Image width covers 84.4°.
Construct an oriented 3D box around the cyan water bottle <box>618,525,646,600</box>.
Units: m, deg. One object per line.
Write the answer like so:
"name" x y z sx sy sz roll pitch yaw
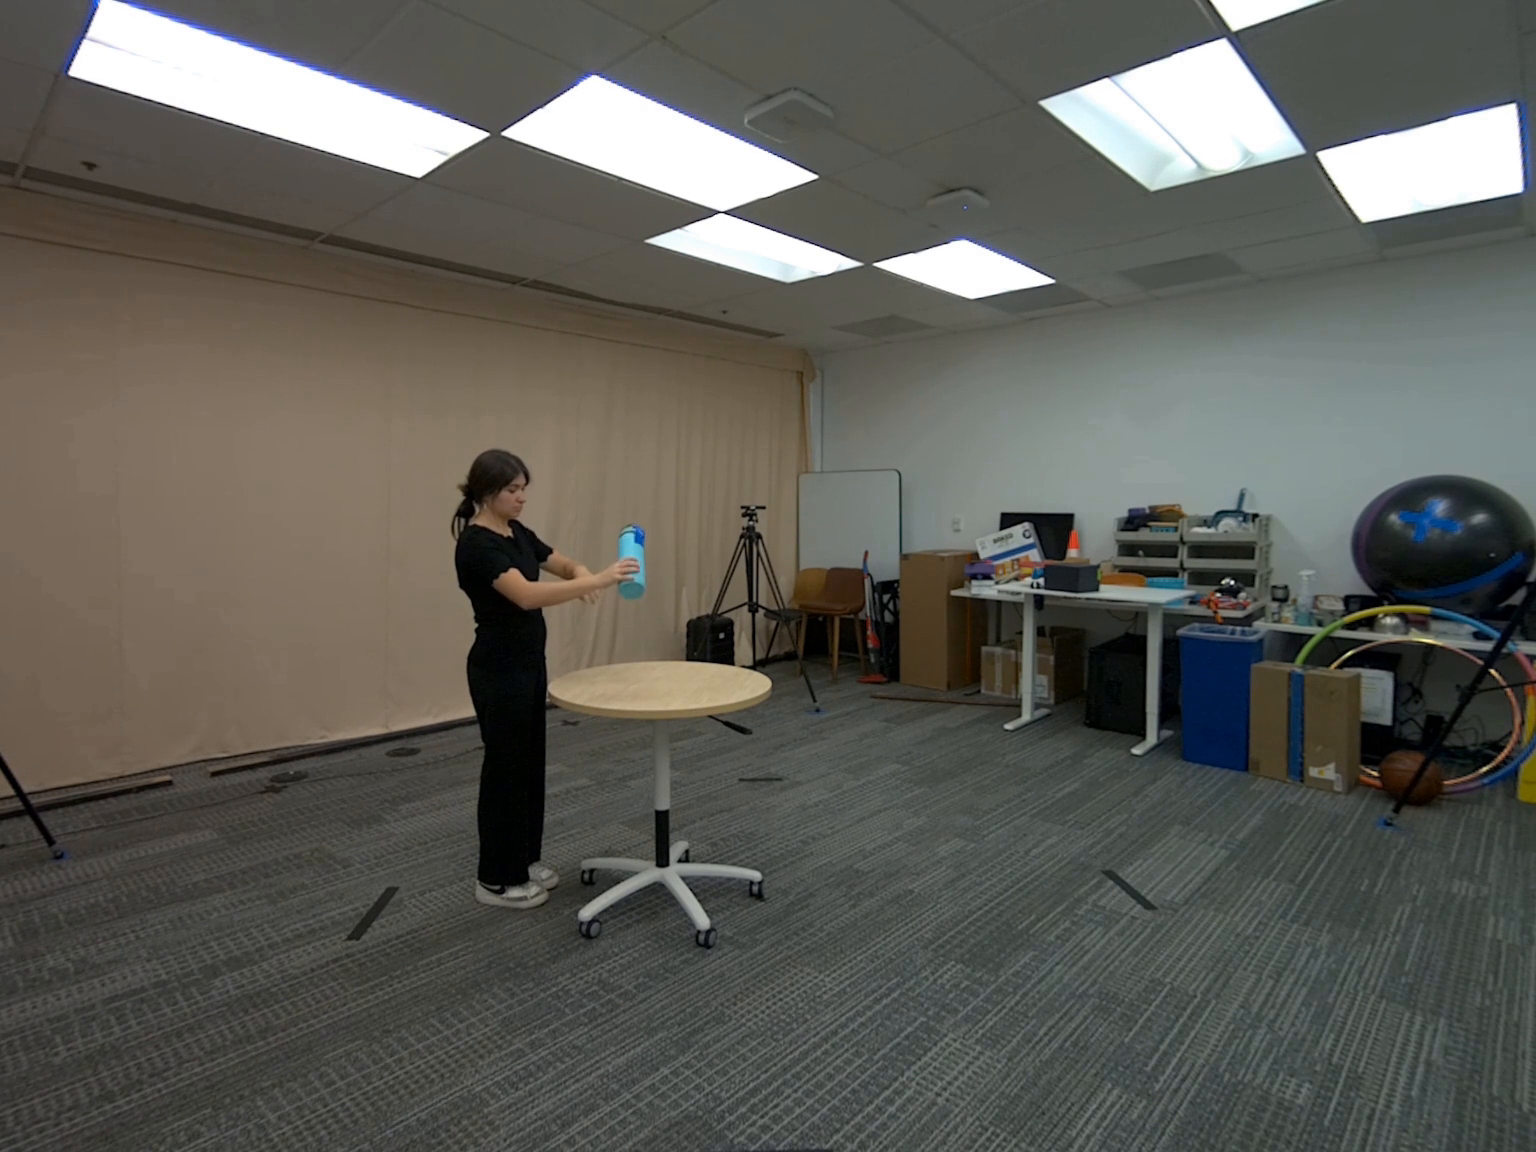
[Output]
"cyan water bottle" -0.463 -0.048 2.838 0.092 0.289 0.091 -1 -41 -2
